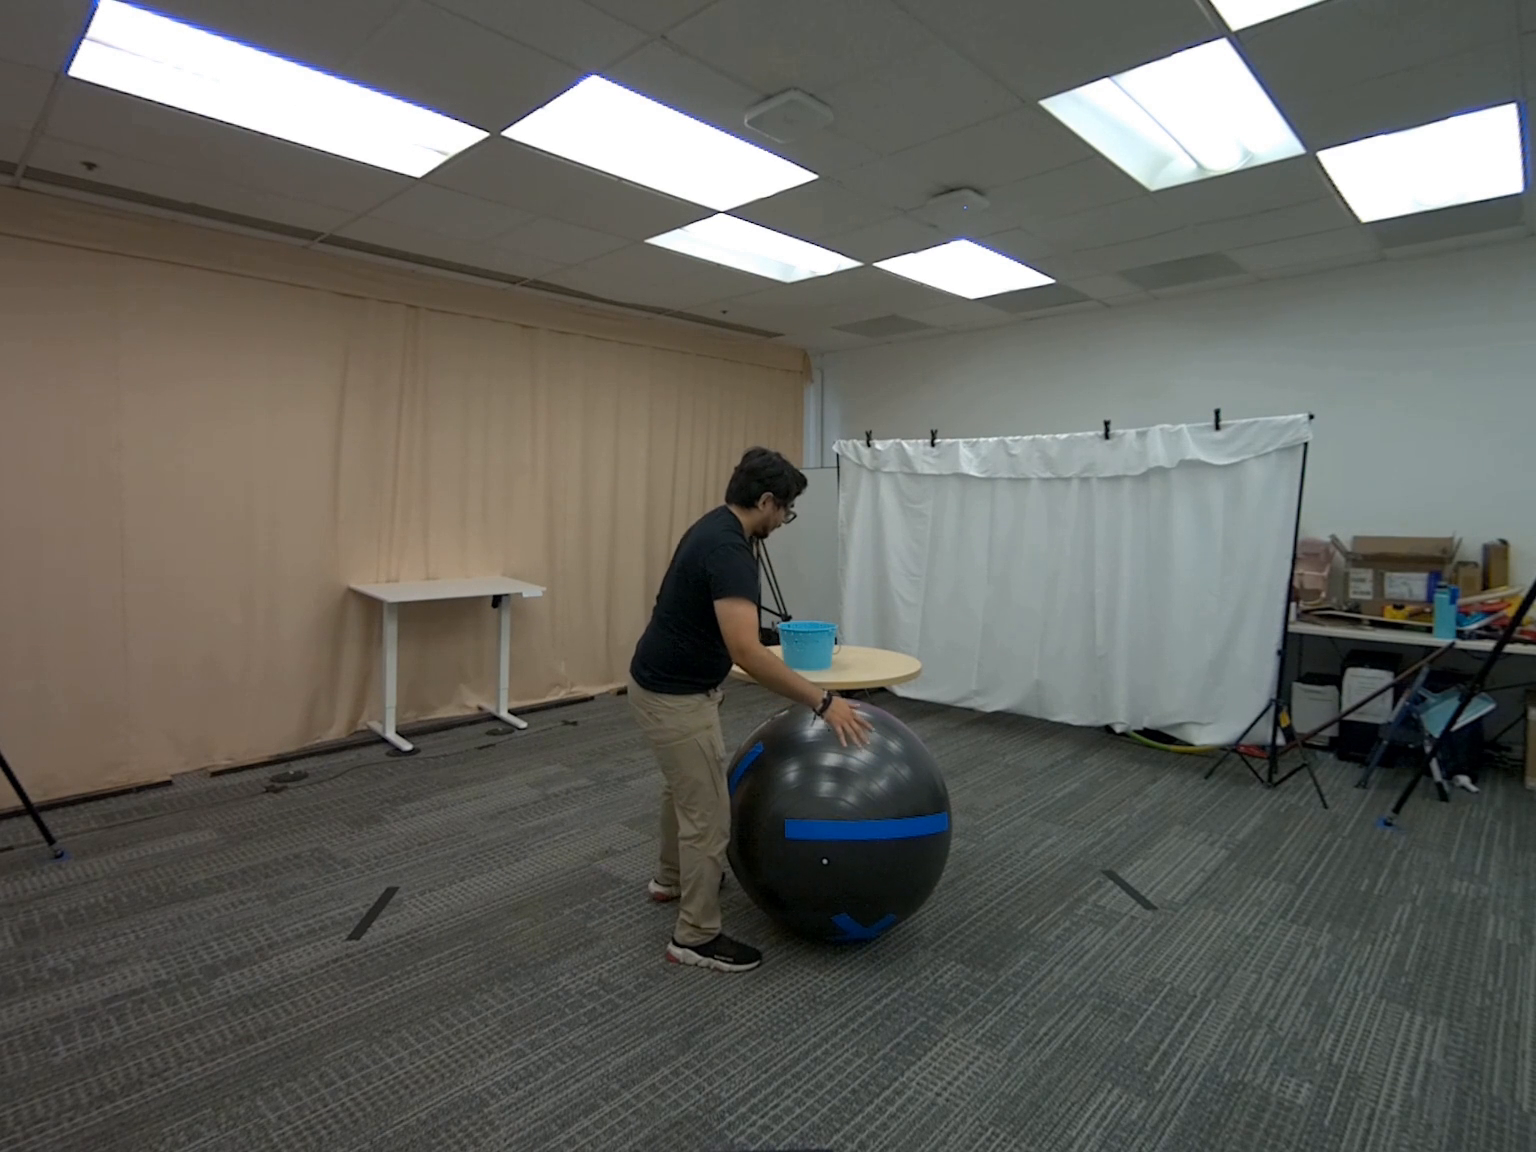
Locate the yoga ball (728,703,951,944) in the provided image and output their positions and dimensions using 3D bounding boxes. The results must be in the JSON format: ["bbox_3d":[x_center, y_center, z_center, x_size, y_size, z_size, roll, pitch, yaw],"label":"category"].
[{"bbox_3d":[0.232,0.800,2.770,0.757,0.756,0.760,0,4,-2],"label":"yoga ball"}]
